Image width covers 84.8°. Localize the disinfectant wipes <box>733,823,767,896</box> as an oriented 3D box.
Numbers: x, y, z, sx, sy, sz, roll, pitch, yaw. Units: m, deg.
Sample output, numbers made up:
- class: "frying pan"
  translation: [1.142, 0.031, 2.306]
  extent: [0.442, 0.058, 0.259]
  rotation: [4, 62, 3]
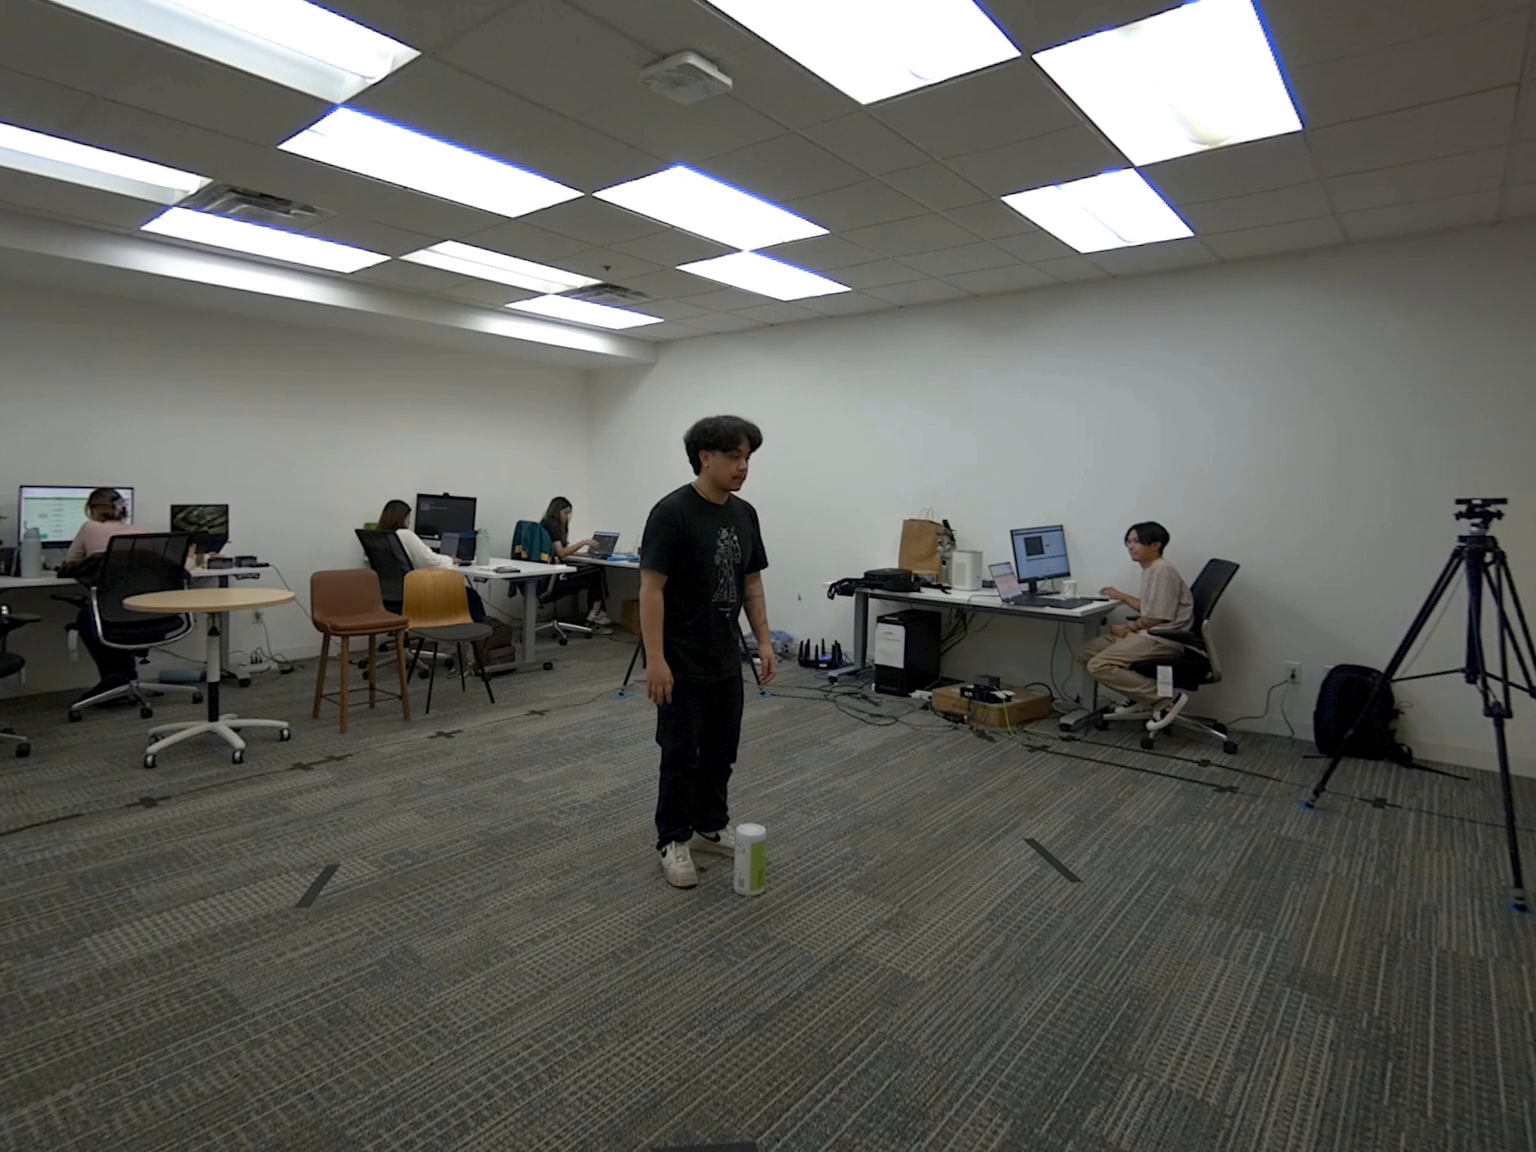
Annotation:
- class: "disinfectant wipes"
  translation: [-0.069, 0.985, 2.948]
  extent: [0.117, 0.217, 0.118]
  rotation: [3, 3, -2]
